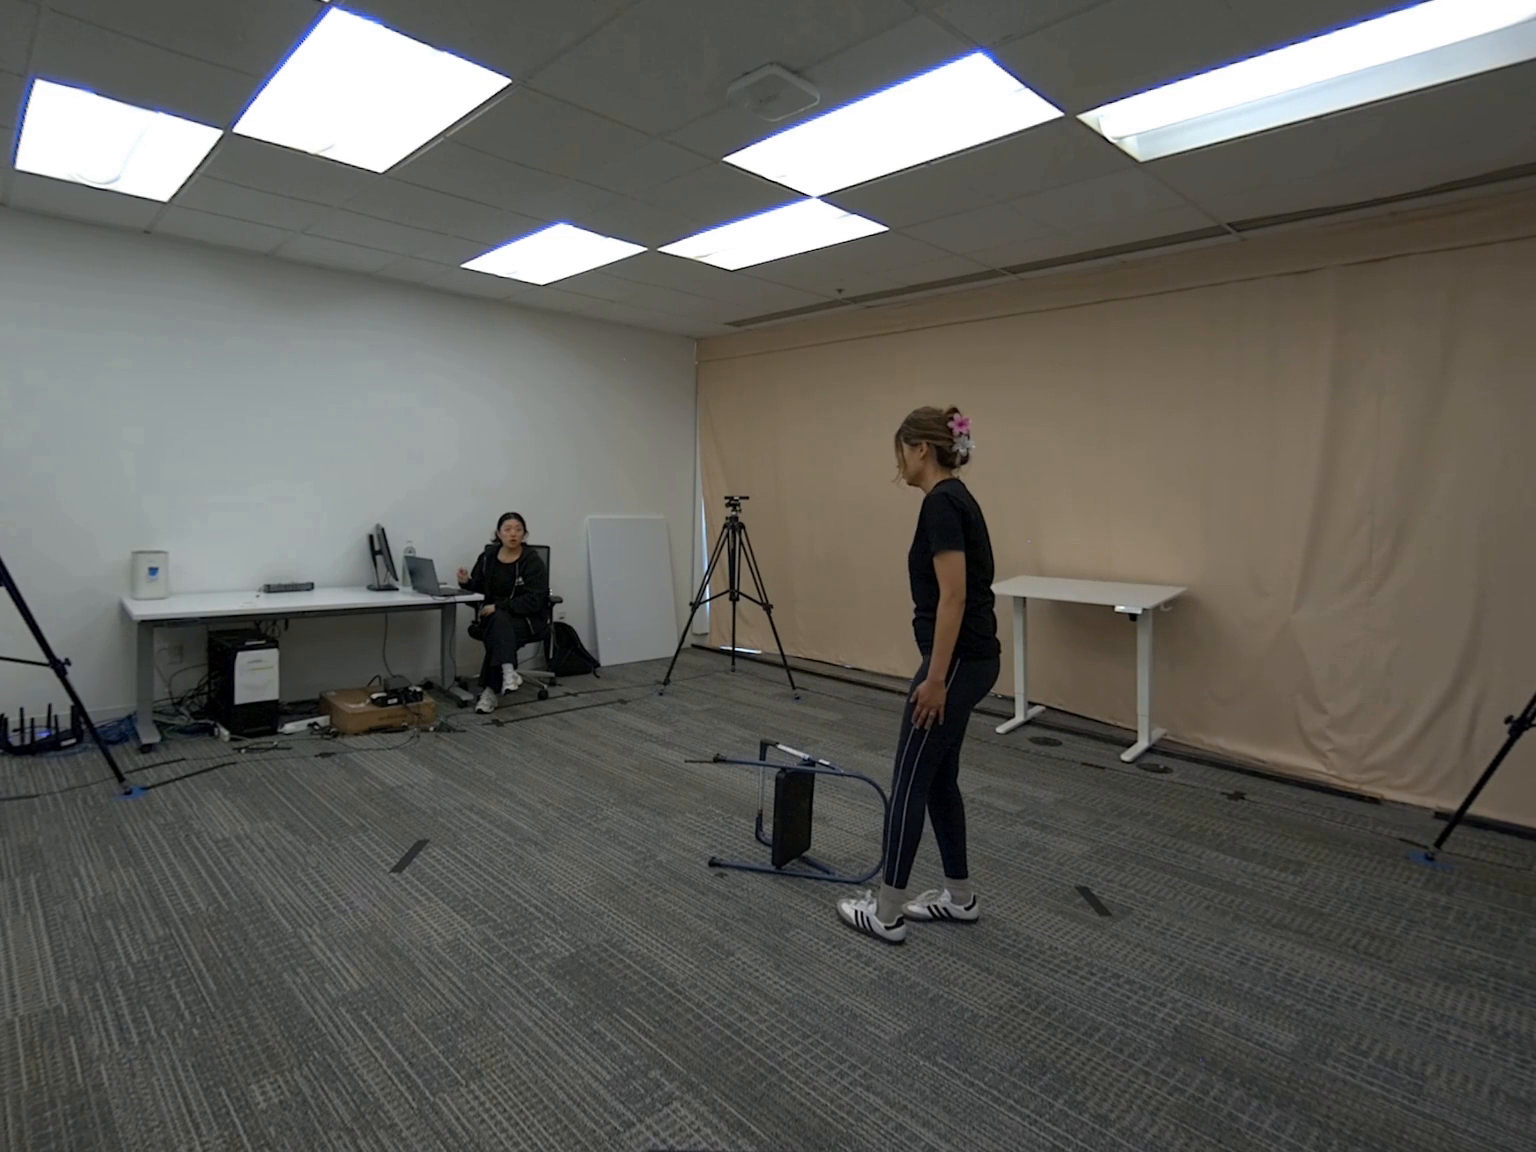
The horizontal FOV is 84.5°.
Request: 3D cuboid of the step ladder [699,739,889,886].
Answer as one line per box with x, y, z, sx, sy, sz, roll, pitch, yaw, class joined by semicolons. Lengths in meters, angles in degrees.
0.133;0.904;3.134;0.620;0.429;0.342;6;6;33;step ladder
